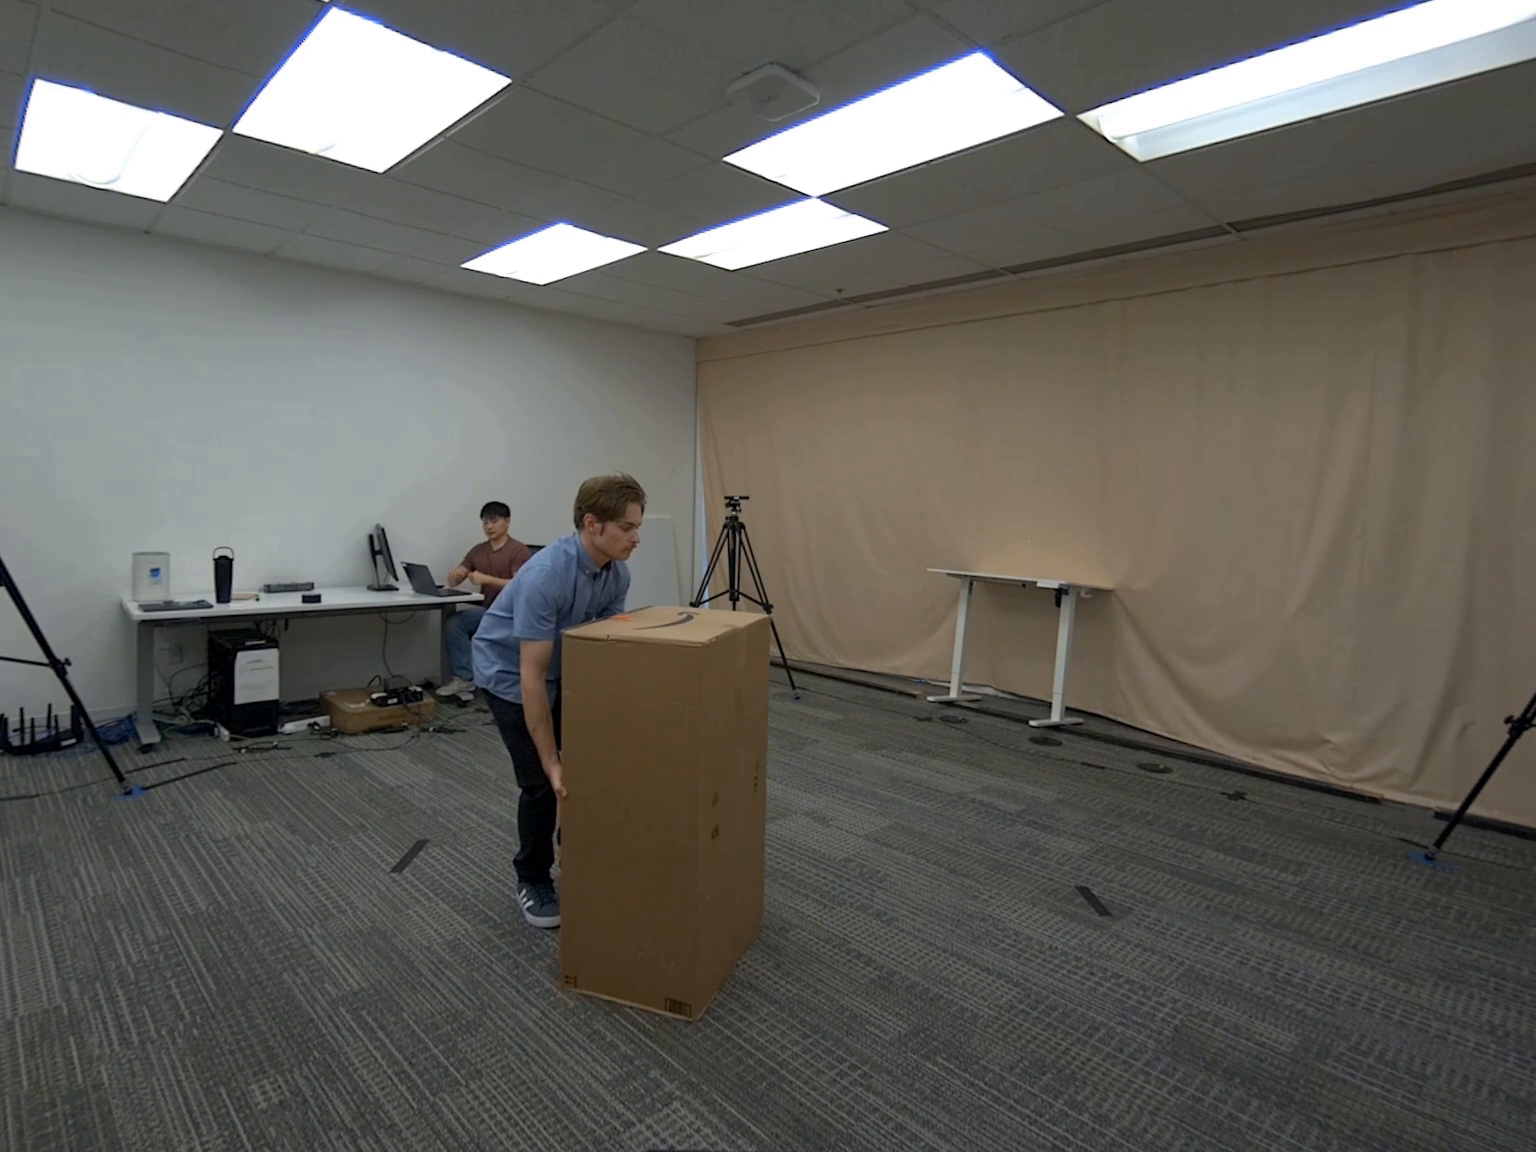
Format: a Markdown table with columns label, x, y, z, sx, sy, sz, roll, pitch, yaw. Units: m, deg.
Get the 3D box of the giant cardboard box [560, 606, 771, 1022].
| label | x | y | z | sx | sy | sz | roll | pitch | yaw |
| --- | --- | --- | --- | --- | --- | --- | --- | --- | --- |
| giant cardboard box | -0.291 | 0.647 | 2.519 | 0.433 | 1.023 | 0.569 | 3 | 4 | 20 |
